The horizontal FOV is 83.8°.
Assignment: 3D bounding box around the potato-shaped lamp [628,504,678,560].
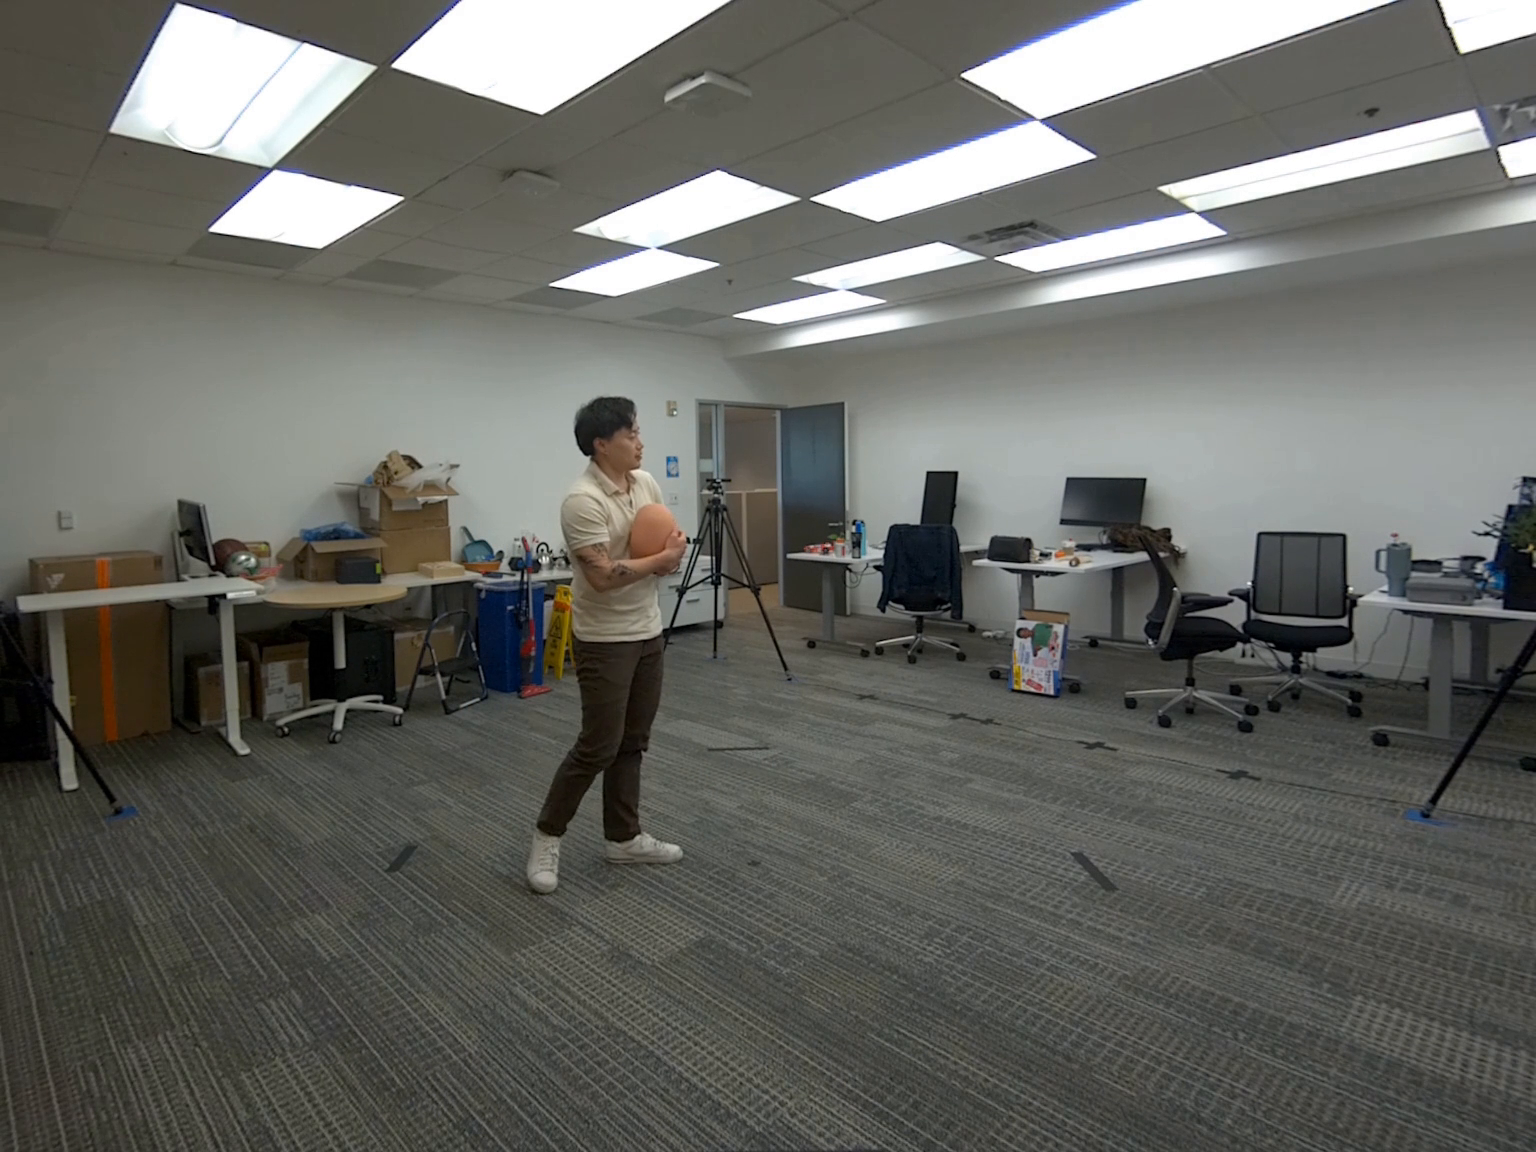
[{"bbox_3d":[-0.417,-0.157,2.945,0.173,0.197,0.164,-4,8,13],"label":"potato-shaped lamp"}]
